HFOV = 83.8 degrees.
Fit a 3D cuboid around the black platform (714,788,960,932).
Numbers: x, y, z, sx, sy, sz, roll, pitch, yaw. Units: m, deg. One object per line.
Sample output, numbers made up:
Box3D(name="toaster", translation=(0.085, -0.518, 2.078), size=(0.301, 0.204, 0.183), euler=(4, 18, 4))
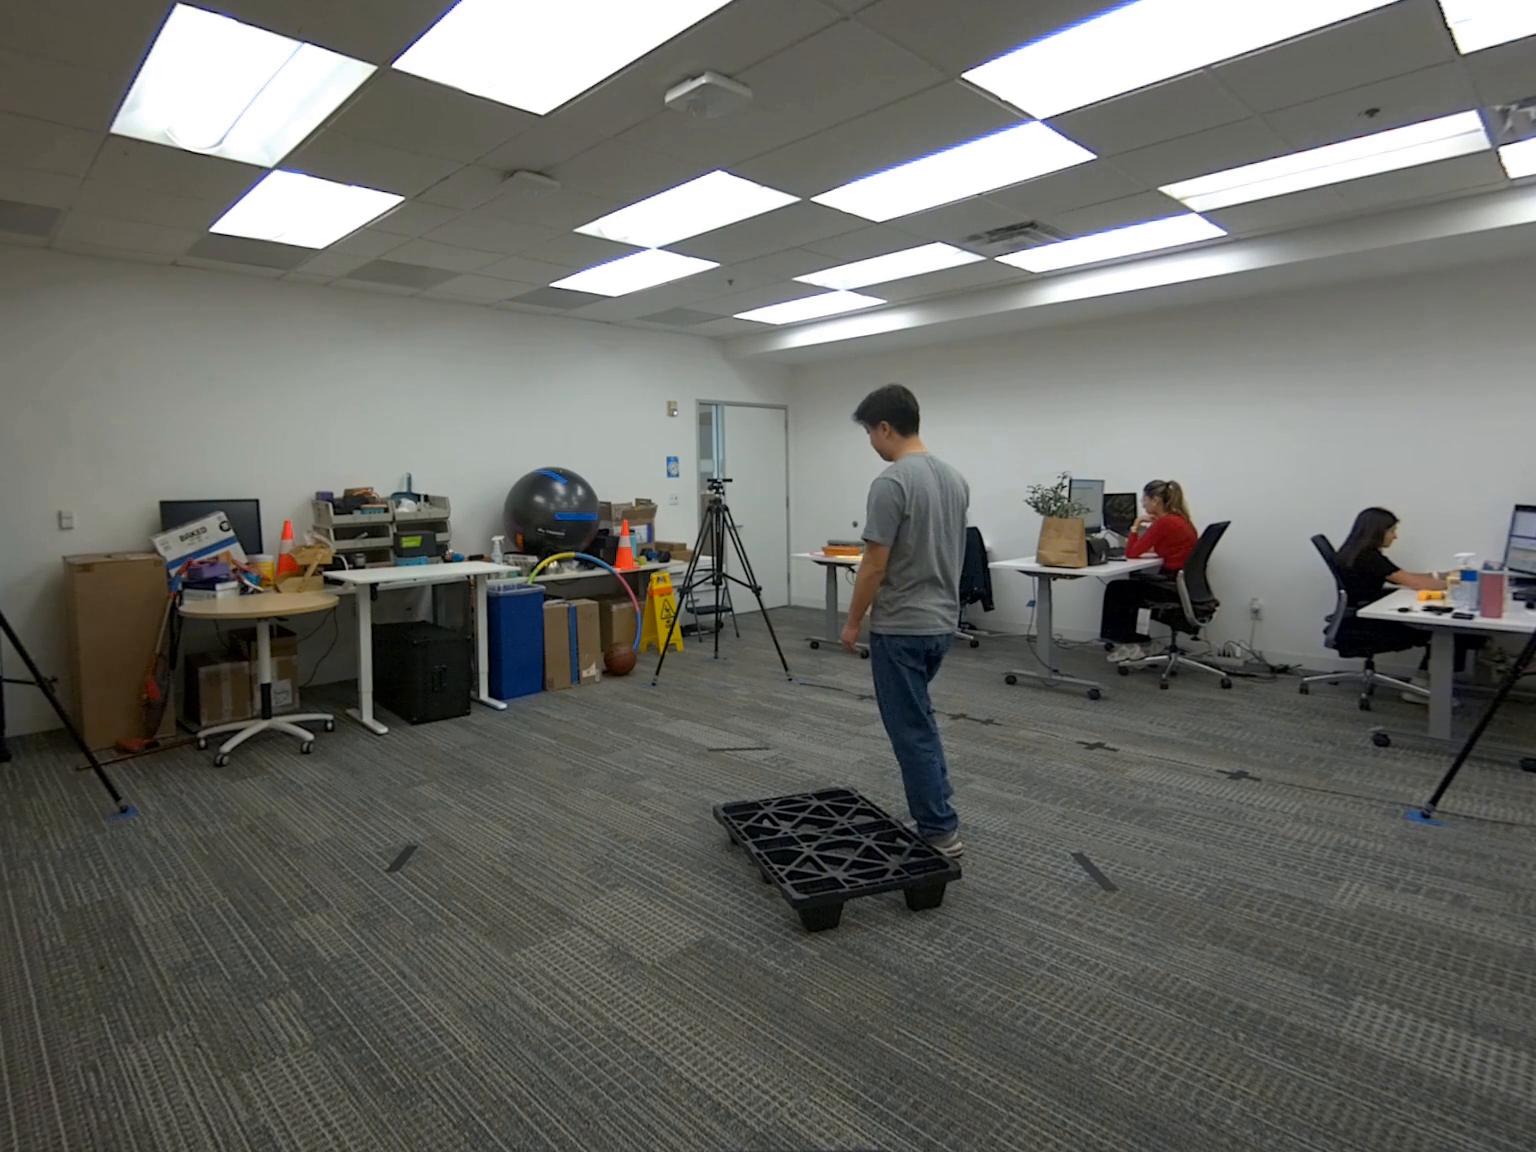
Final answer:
Box3D(name="black platform", translation=(0.207, 0.982, 3.031), size=(0.595, 0.142, 0.823), euler=(-4, 7, -20))
